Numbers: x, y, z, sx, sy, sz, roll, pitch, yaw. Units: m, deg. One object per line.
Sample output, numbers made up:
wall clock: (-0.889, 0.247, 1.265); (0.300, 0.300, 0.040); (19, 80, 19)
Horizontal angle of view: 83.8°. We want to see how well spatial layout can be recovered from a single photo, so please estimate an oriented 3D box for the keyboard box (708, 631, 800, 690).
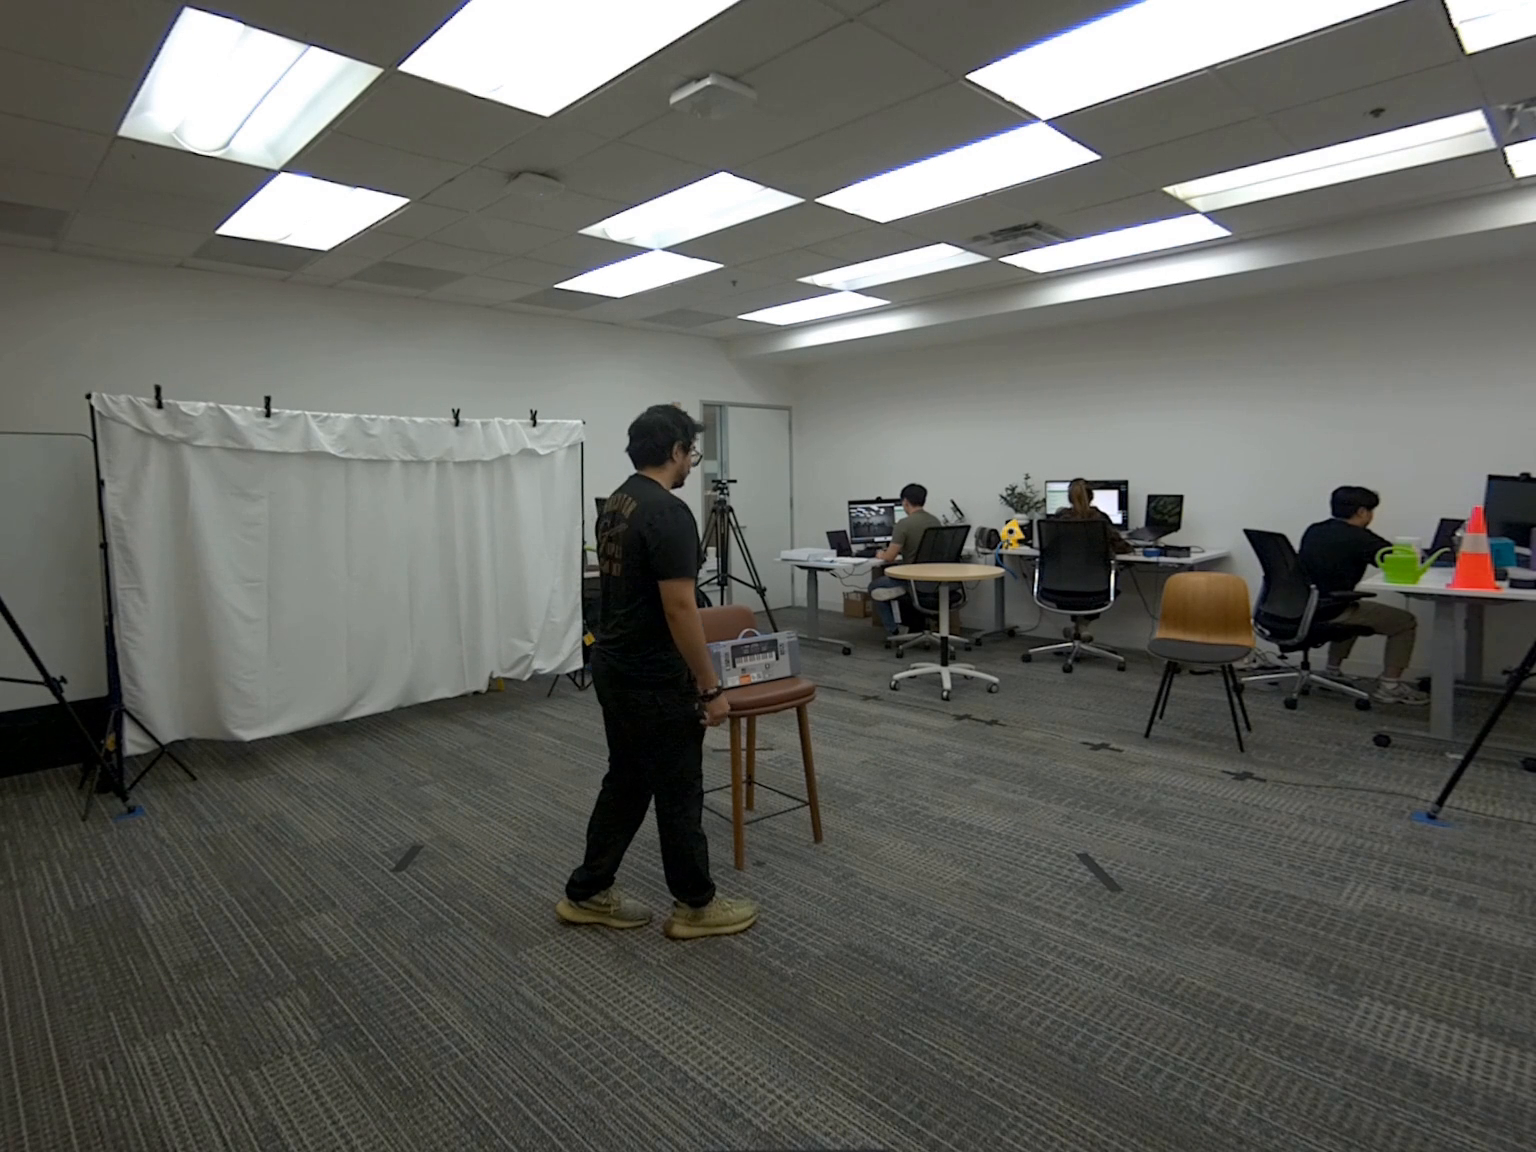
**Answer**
keyboard box: (-0.064, 0.325, 3.303); (0.426, 0.176, 0.060); (-6, -2, -36)
